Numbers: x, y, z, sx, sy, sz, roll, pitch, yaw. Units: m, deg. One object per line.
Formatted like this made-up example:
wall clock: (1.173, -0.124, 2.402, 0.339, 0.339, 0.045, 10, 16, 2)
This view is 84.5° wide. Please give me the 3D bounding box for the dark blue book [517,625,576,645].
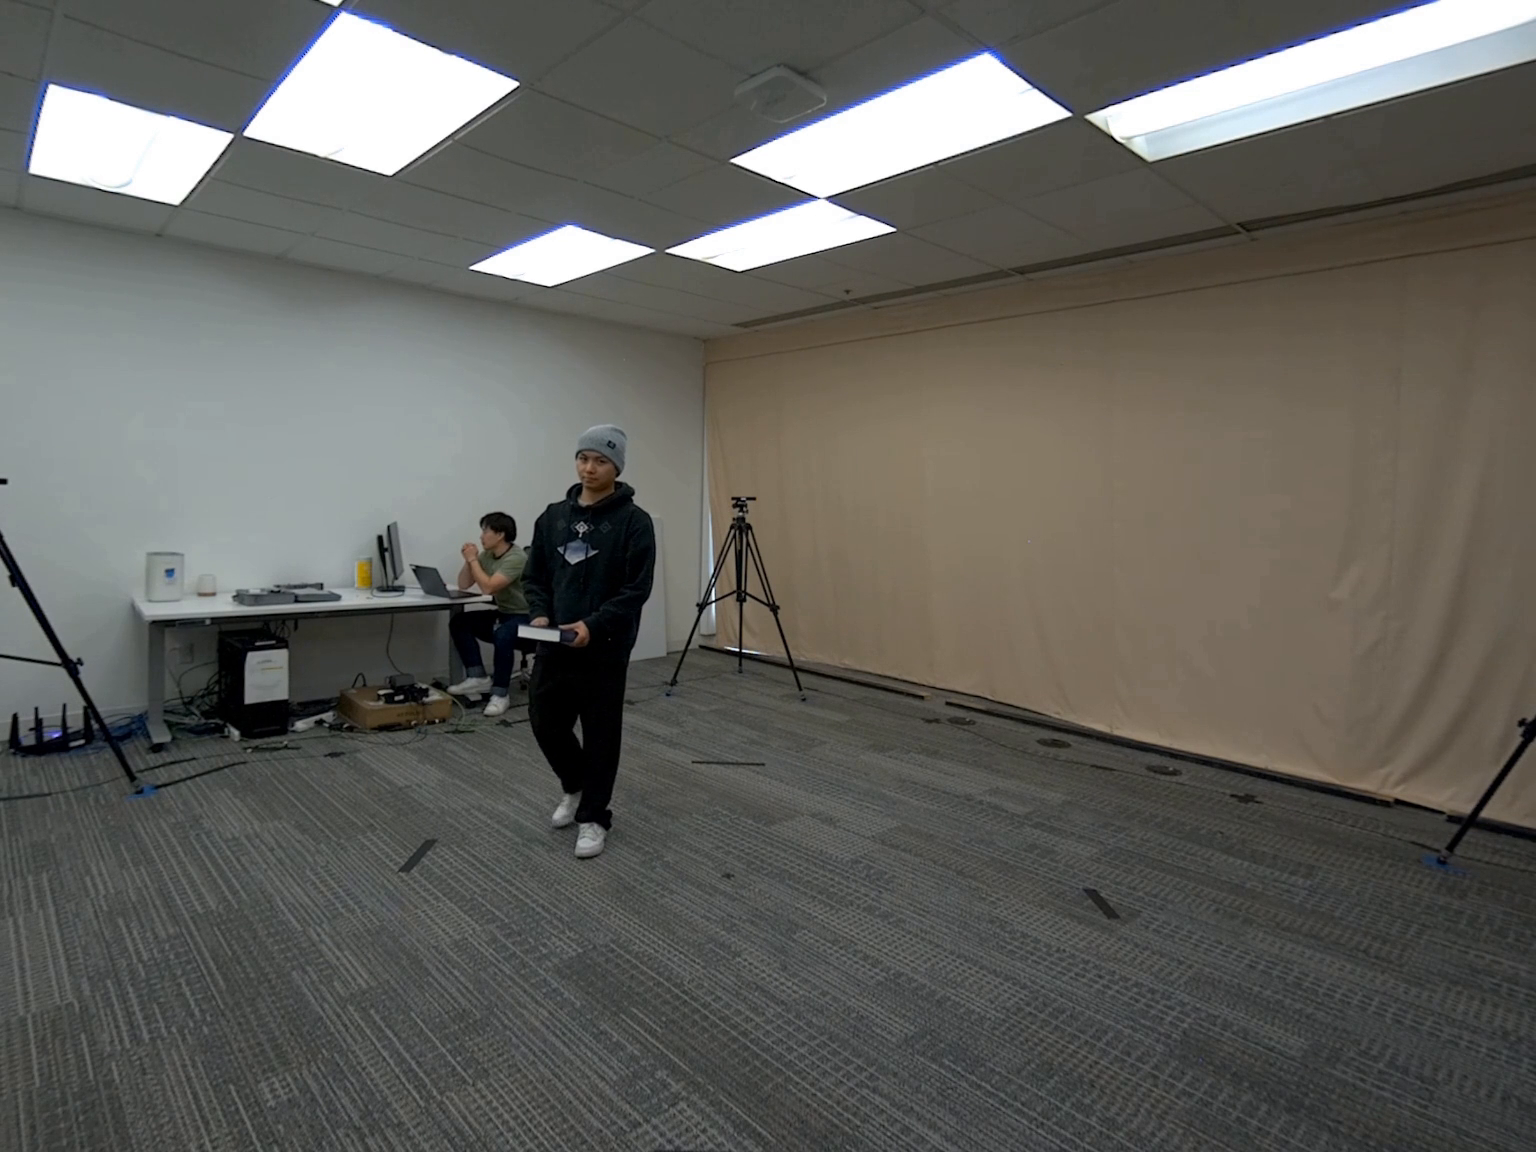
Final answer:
dark blue book: (-0.783, 0.207, 3.059, 0.165, 0.045, 0.243, 9, -1, 8)
